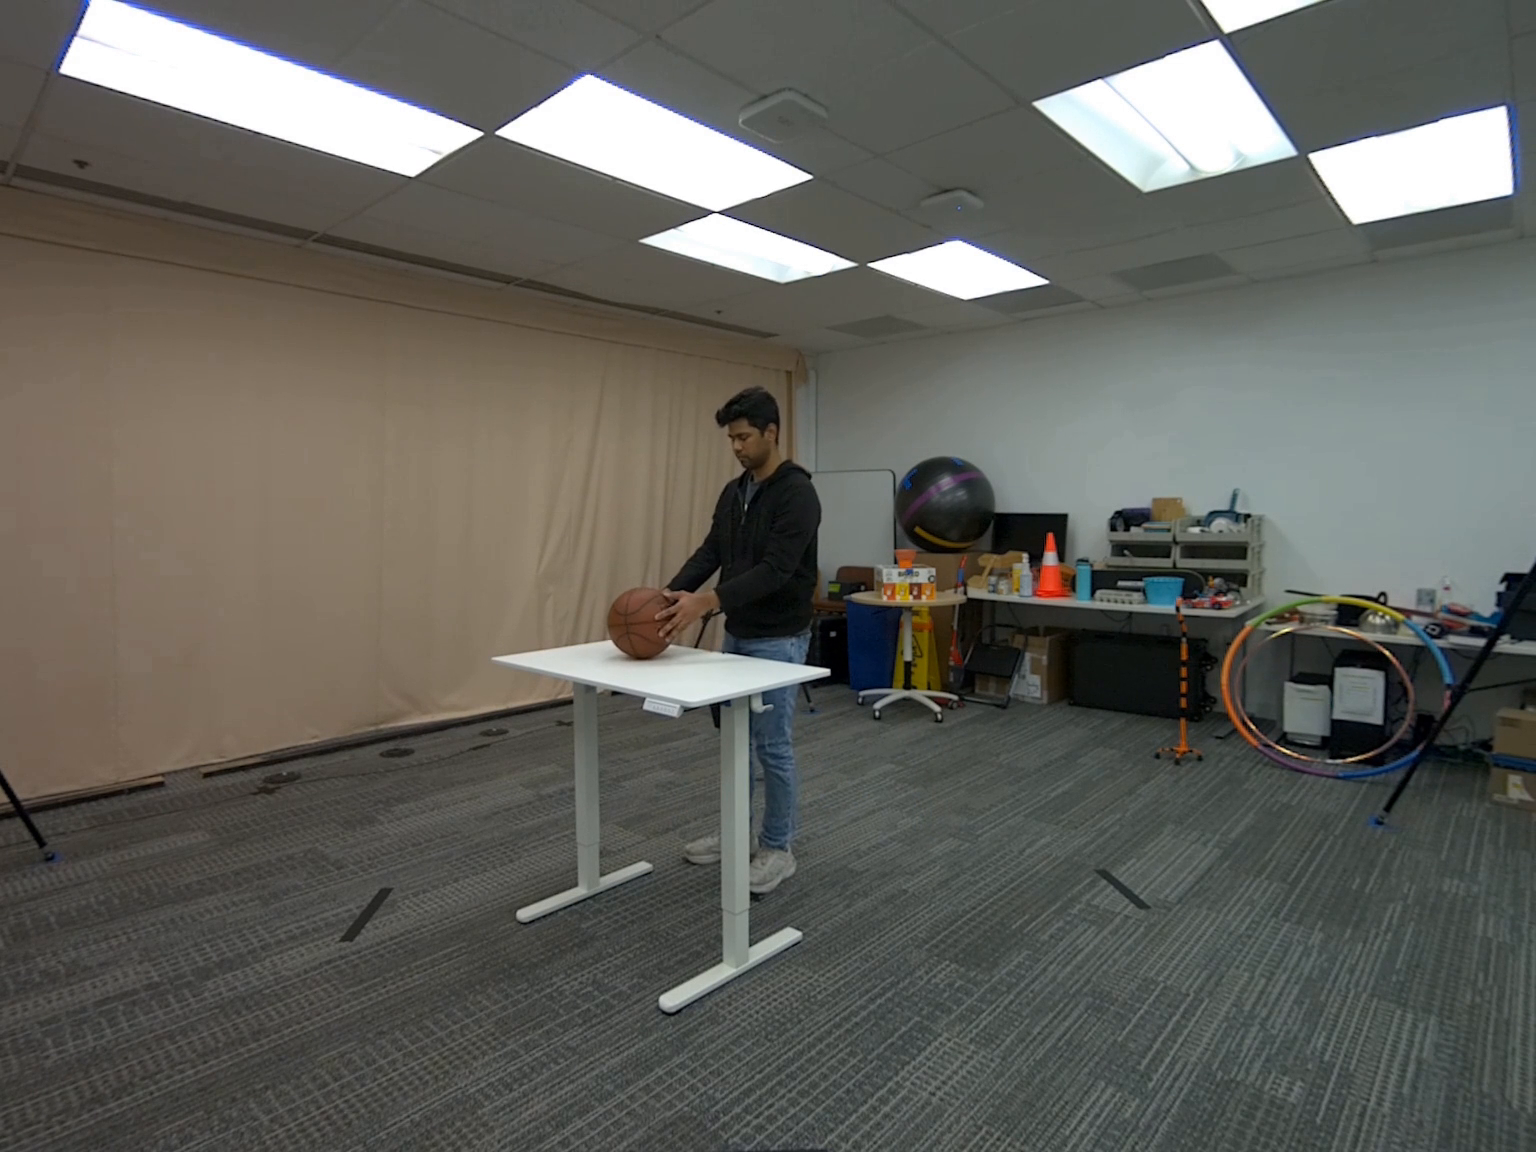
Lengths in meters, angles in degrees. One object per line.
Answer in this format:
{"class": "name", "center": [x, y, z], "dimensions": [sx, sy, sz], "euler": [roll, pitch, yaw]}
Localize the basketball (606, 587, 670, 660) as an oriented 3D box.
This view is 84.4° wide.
{"class": "basketball", "center": [-0.415, 0.149, 2.857], "dimensions": [0.236, 0.235, 0.237], "euler": [0, 4, -2]}
